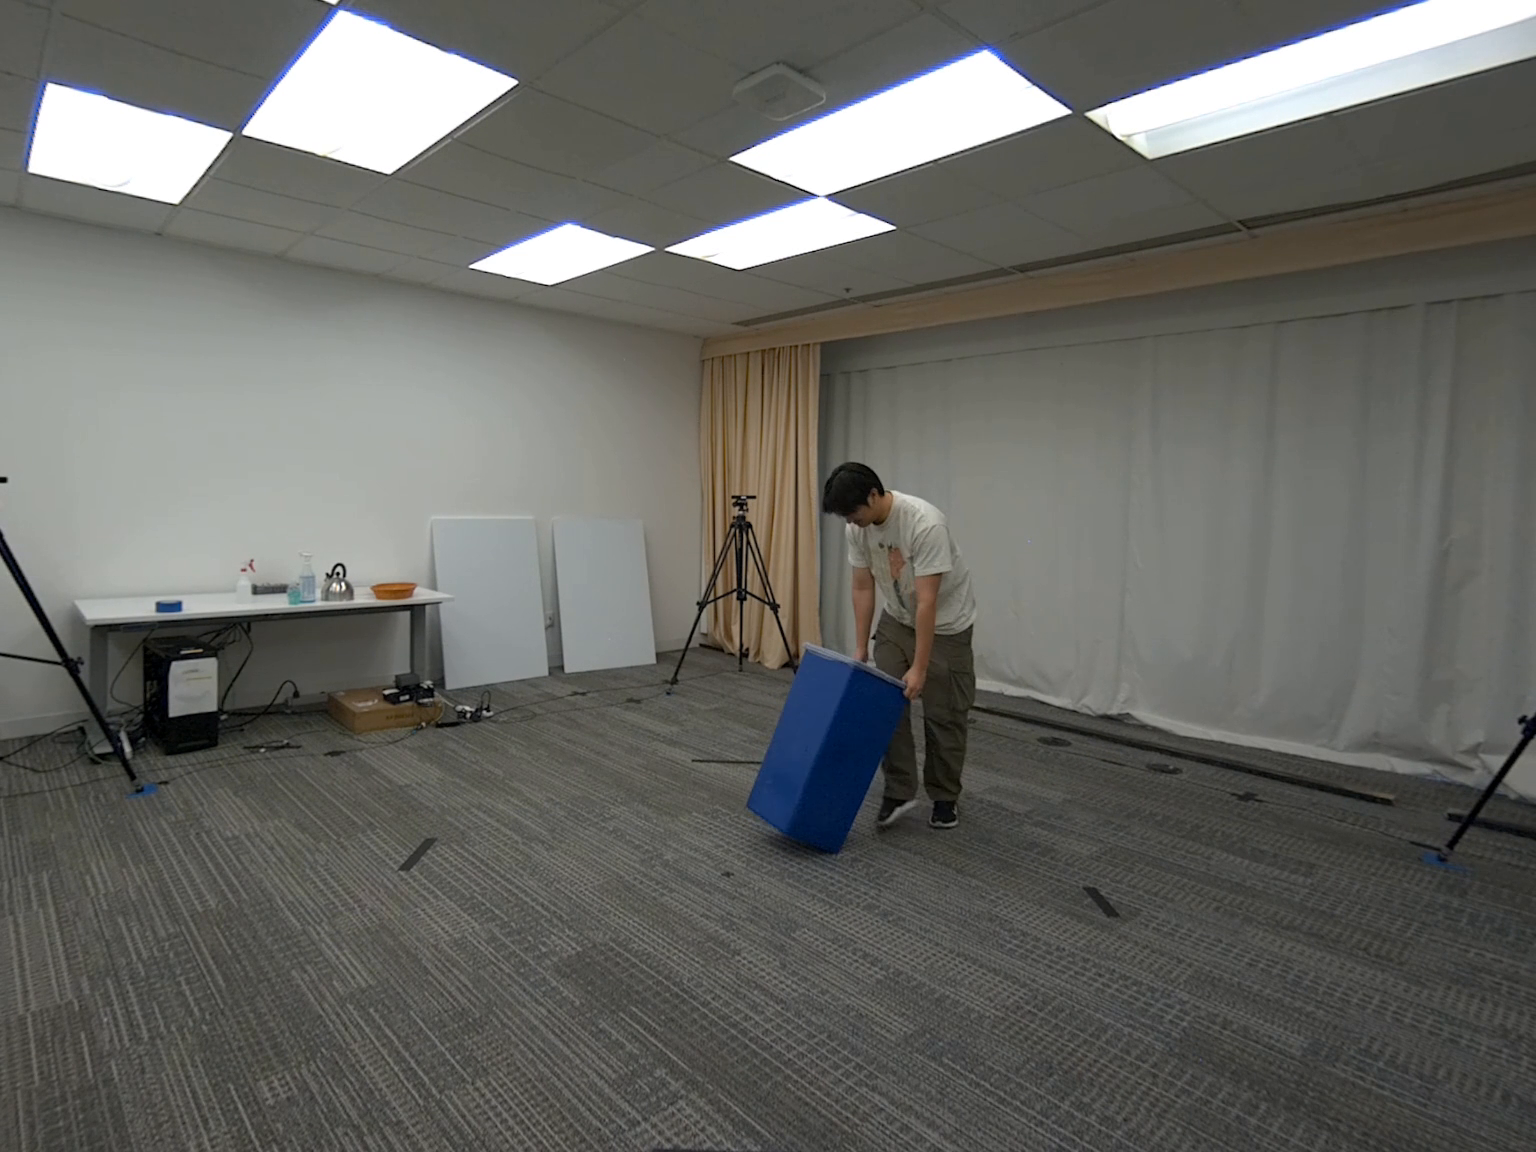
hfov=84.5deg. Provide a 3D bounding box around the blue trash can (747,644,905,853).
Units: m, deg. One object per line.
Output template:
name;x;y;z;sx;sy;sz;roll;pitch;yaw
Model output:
blue trash can;0.229;0.690;3.410;0.364;0.715;0.387;28;-9;-31
